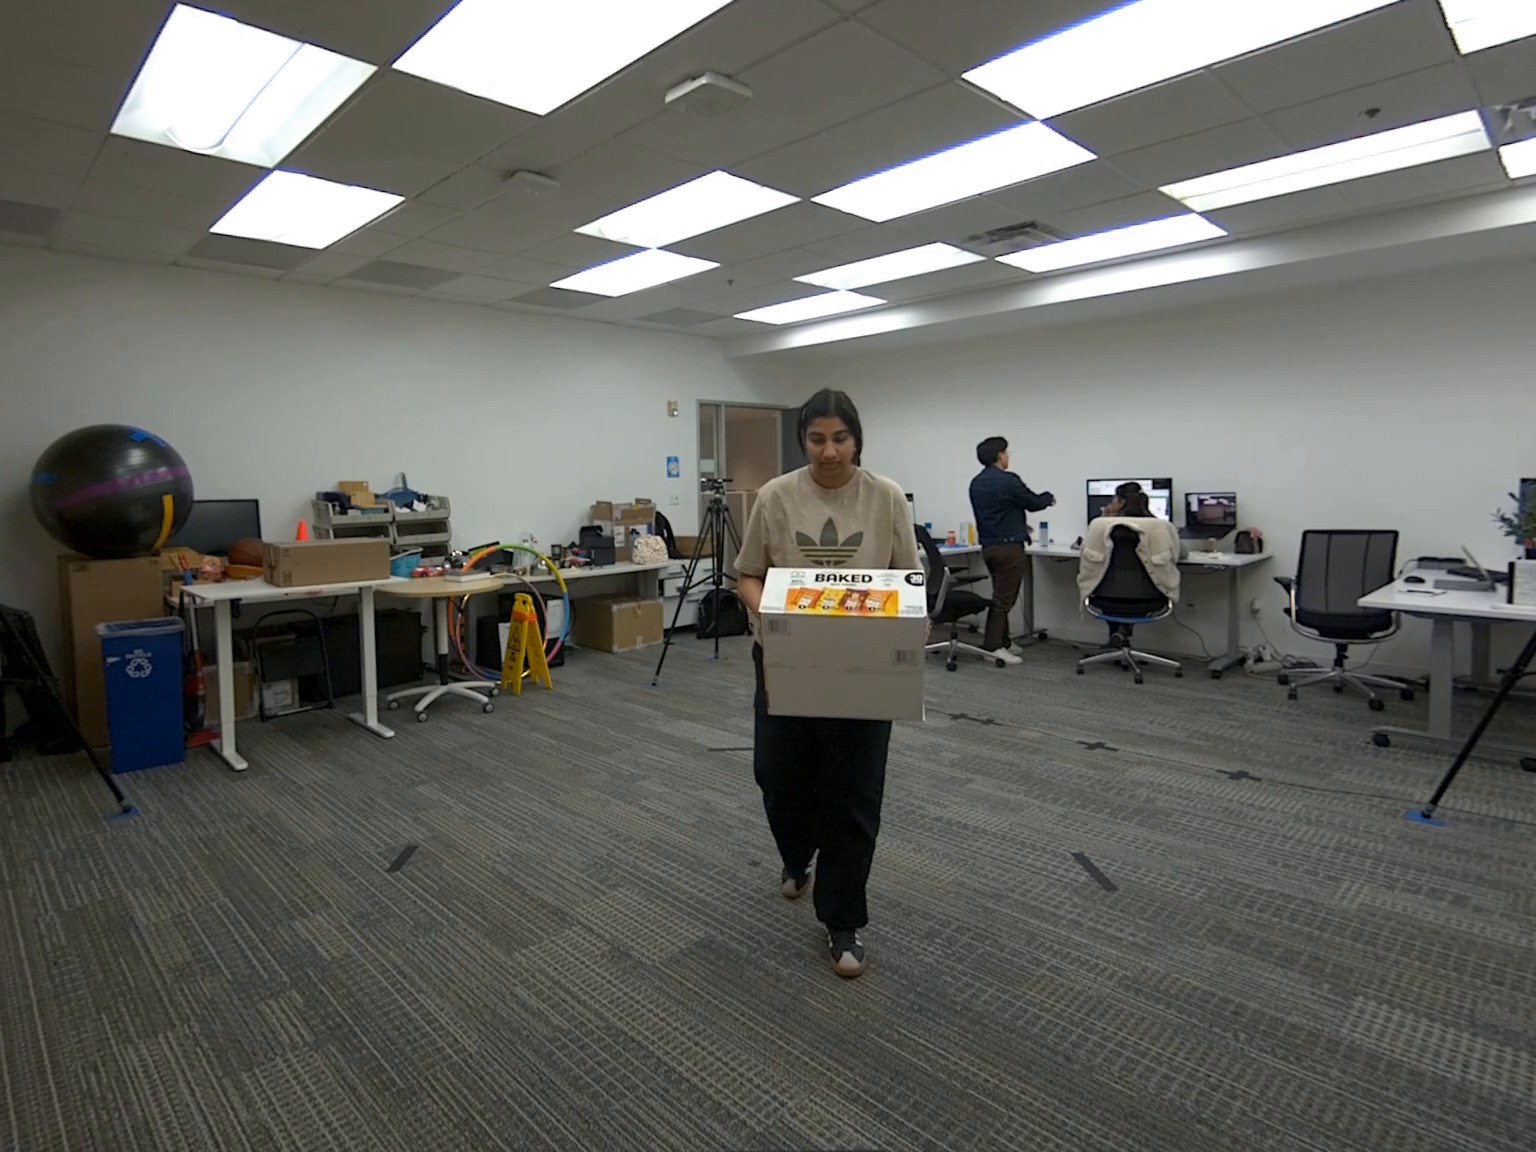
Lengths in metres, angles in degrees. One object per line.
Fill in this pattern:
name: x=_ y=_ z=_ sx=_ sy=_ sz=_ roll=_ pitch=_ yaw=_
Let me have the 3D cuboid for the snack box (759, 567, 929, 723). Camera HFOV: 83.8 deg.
snack box: x=0.196 y=0.182 z=2.231 sx=0.410 sy=0.331 sz=0.209 roll=1 pitch=32 yaw=11
